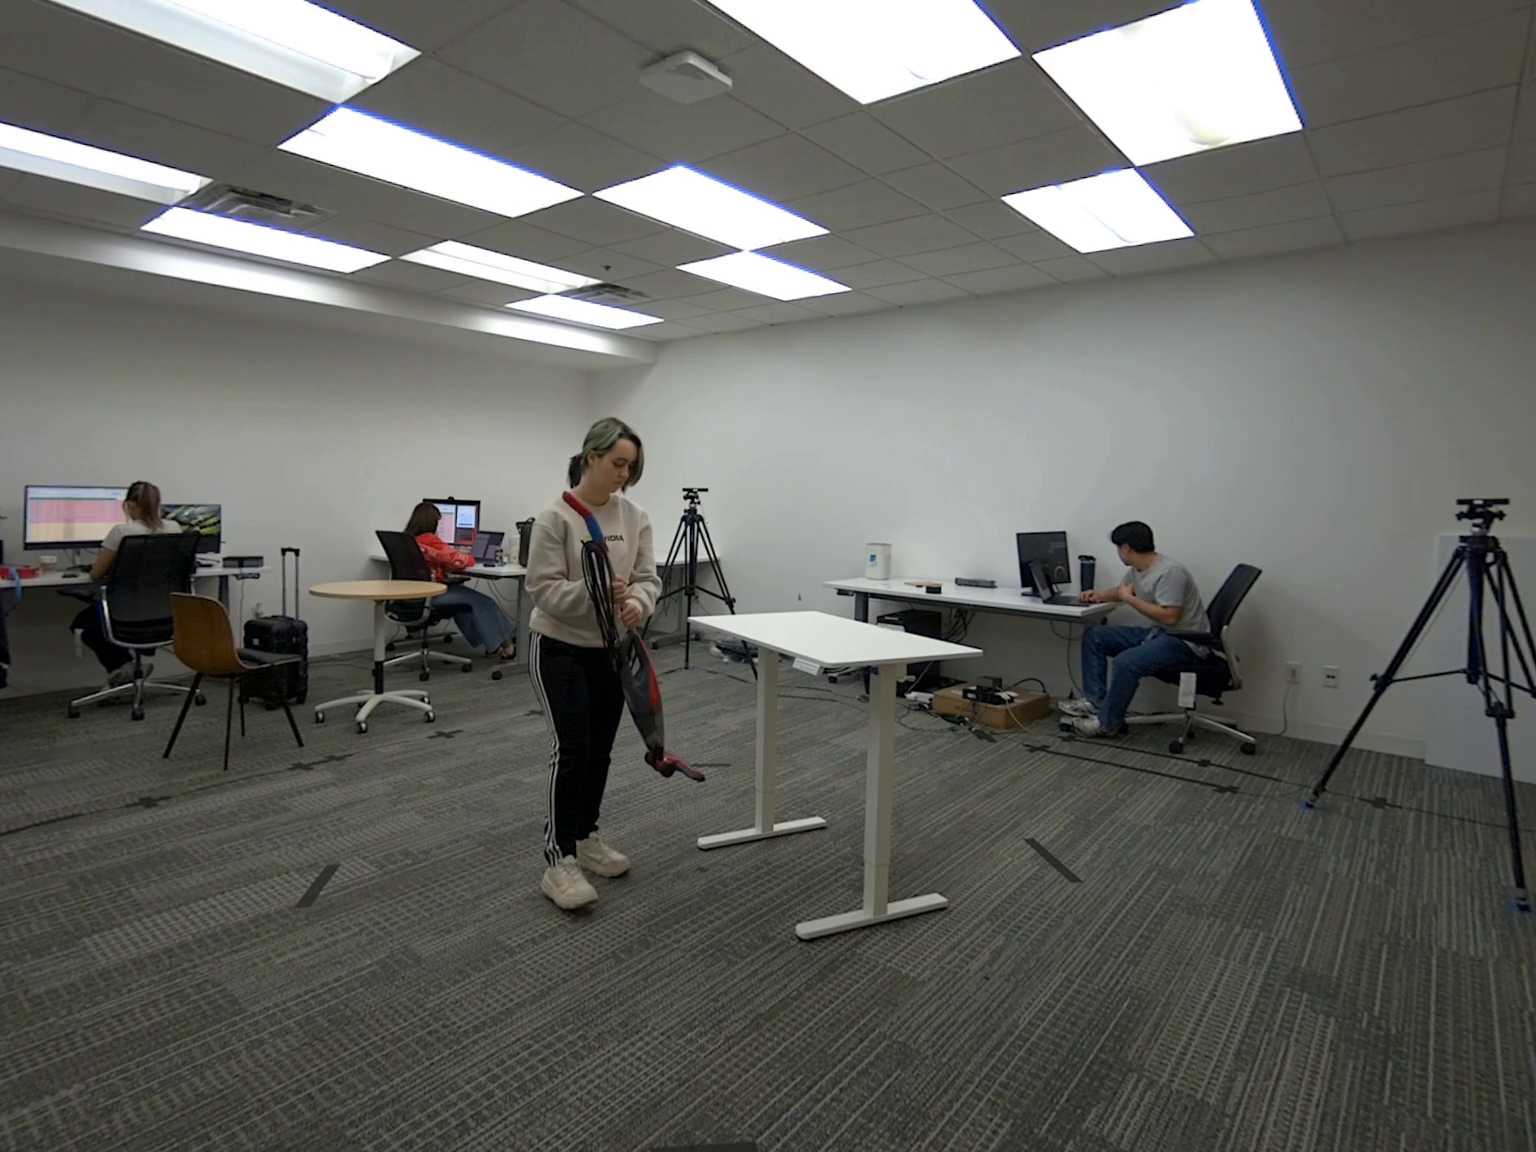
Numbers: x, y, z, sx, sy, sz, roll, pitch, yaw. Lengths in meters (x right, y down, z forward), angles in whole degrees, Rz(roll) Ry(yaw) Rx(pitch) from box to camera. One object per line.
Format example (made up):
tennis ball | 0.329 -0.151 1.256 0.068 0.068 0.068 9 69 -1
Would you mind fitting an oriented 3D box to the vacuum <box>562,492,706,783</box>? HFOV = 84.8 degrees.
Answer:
vacuum | -0.482 0.213 2.789 0.142 1.023 0.262 -32 27 -34
